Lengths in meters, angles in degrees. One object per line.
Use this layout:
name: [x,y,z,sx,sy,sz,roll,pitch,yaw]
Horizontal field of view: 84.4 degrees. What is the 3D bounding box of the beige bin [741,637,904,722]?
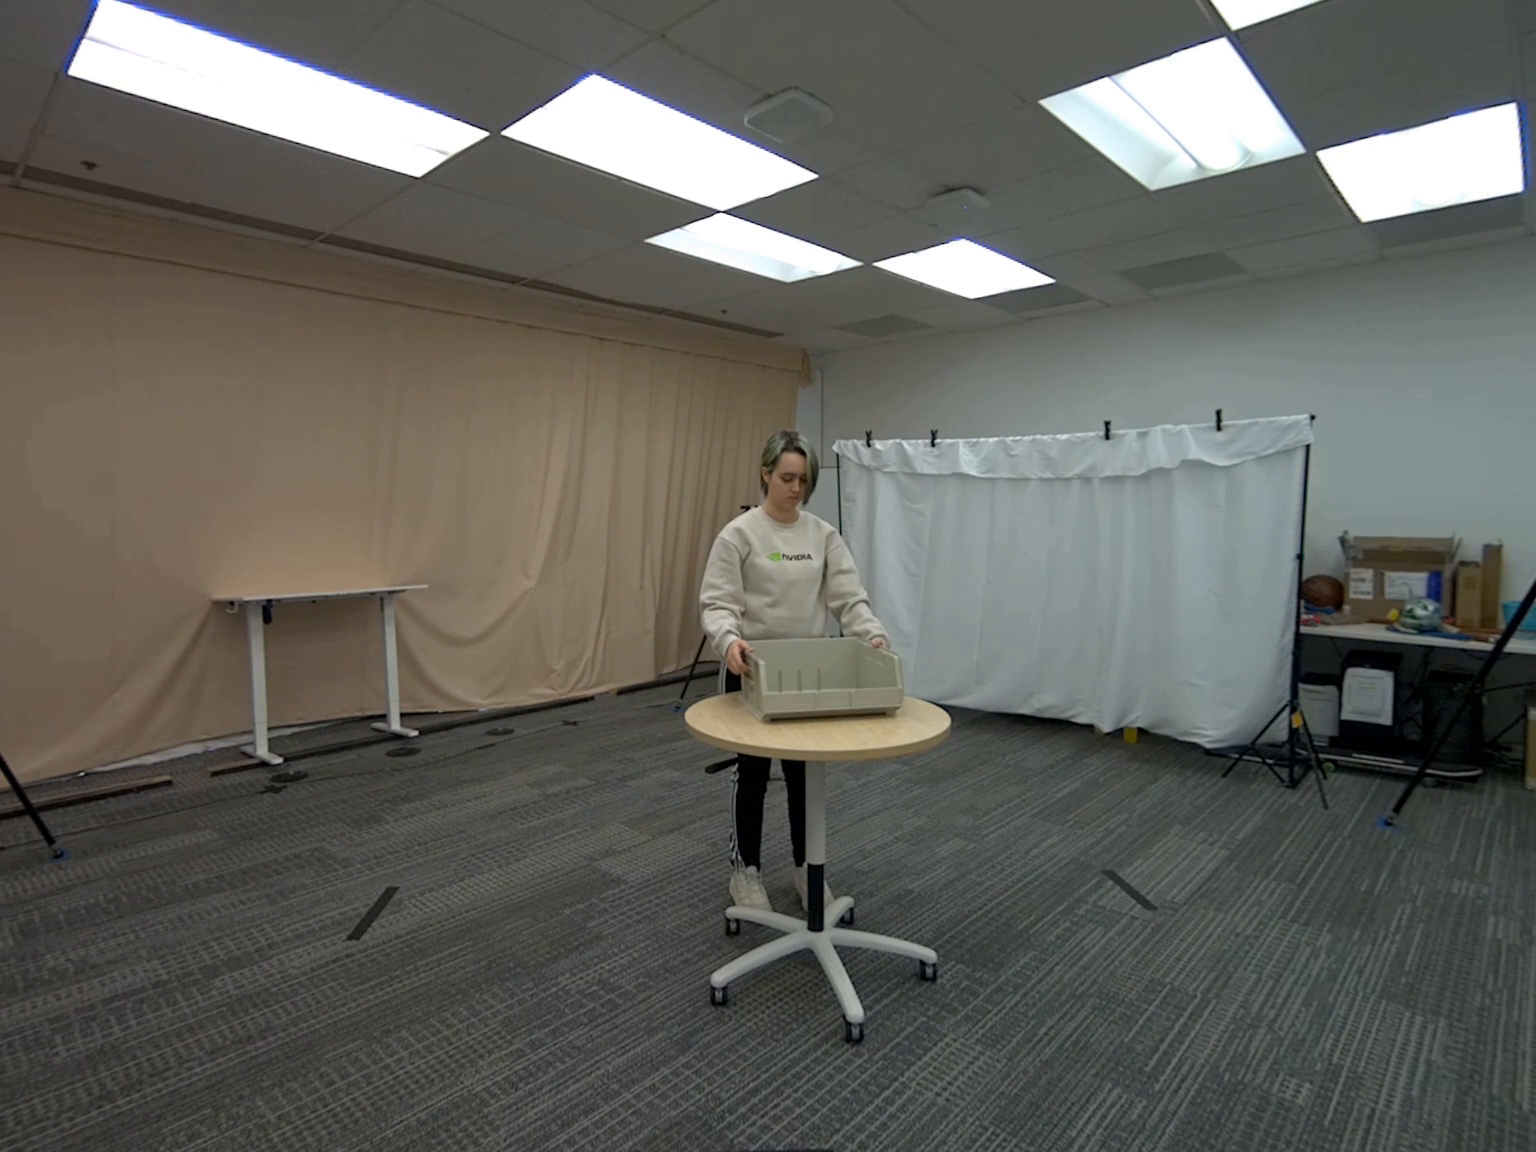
beige bin: [0.143,0.308,2.532,0.417,0.188,0.383,-2,4,-12]
